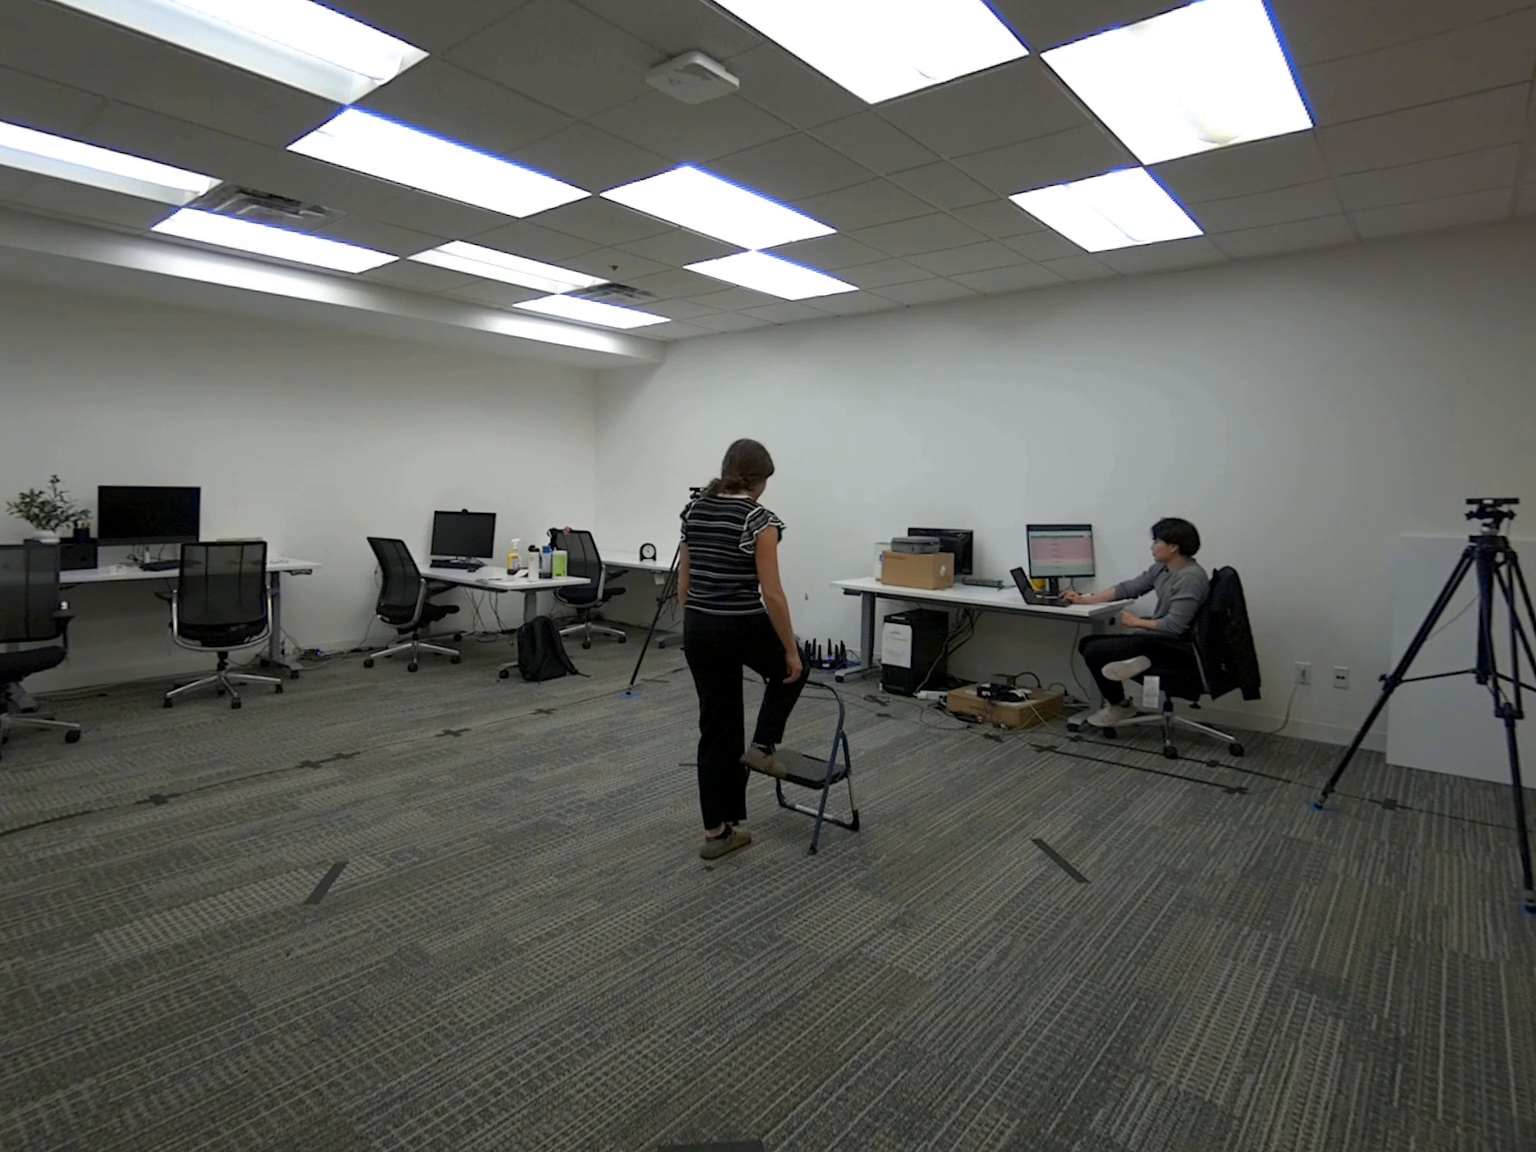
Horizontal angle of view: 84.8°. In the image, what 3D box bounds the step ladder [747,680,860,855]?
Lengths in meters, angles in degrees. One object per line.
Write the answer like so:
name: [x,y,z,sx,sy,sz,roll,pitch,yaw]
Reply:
step ladder: [0.112,0.733,3.494,0.445,0.604,0.339,5,5,39]
